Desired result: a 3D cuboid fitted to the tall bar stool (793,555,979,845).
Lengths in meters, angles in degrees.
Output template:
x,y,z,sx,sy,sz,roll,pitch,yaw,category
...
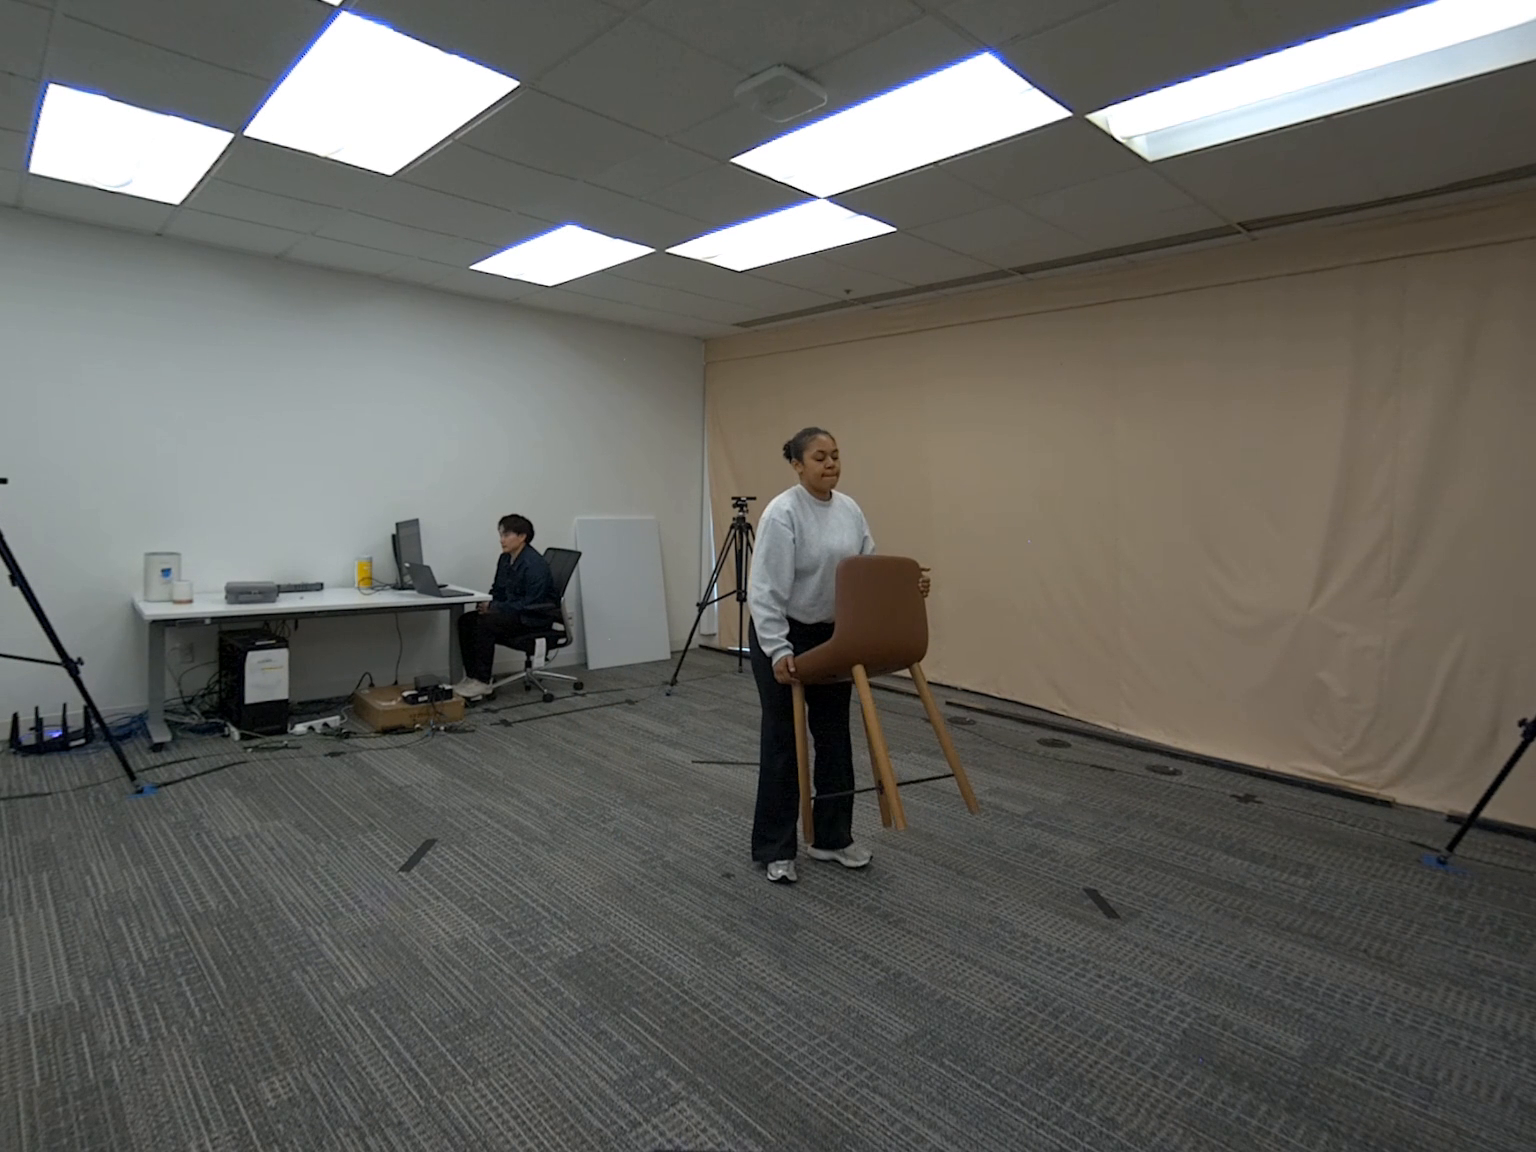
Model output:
x,y,z,sx,sy,sz,roll,pitch,yaw,category
0.339,0.432,2.904,0.445,0.901,0.473,3,-19,-38,tall bar stool
